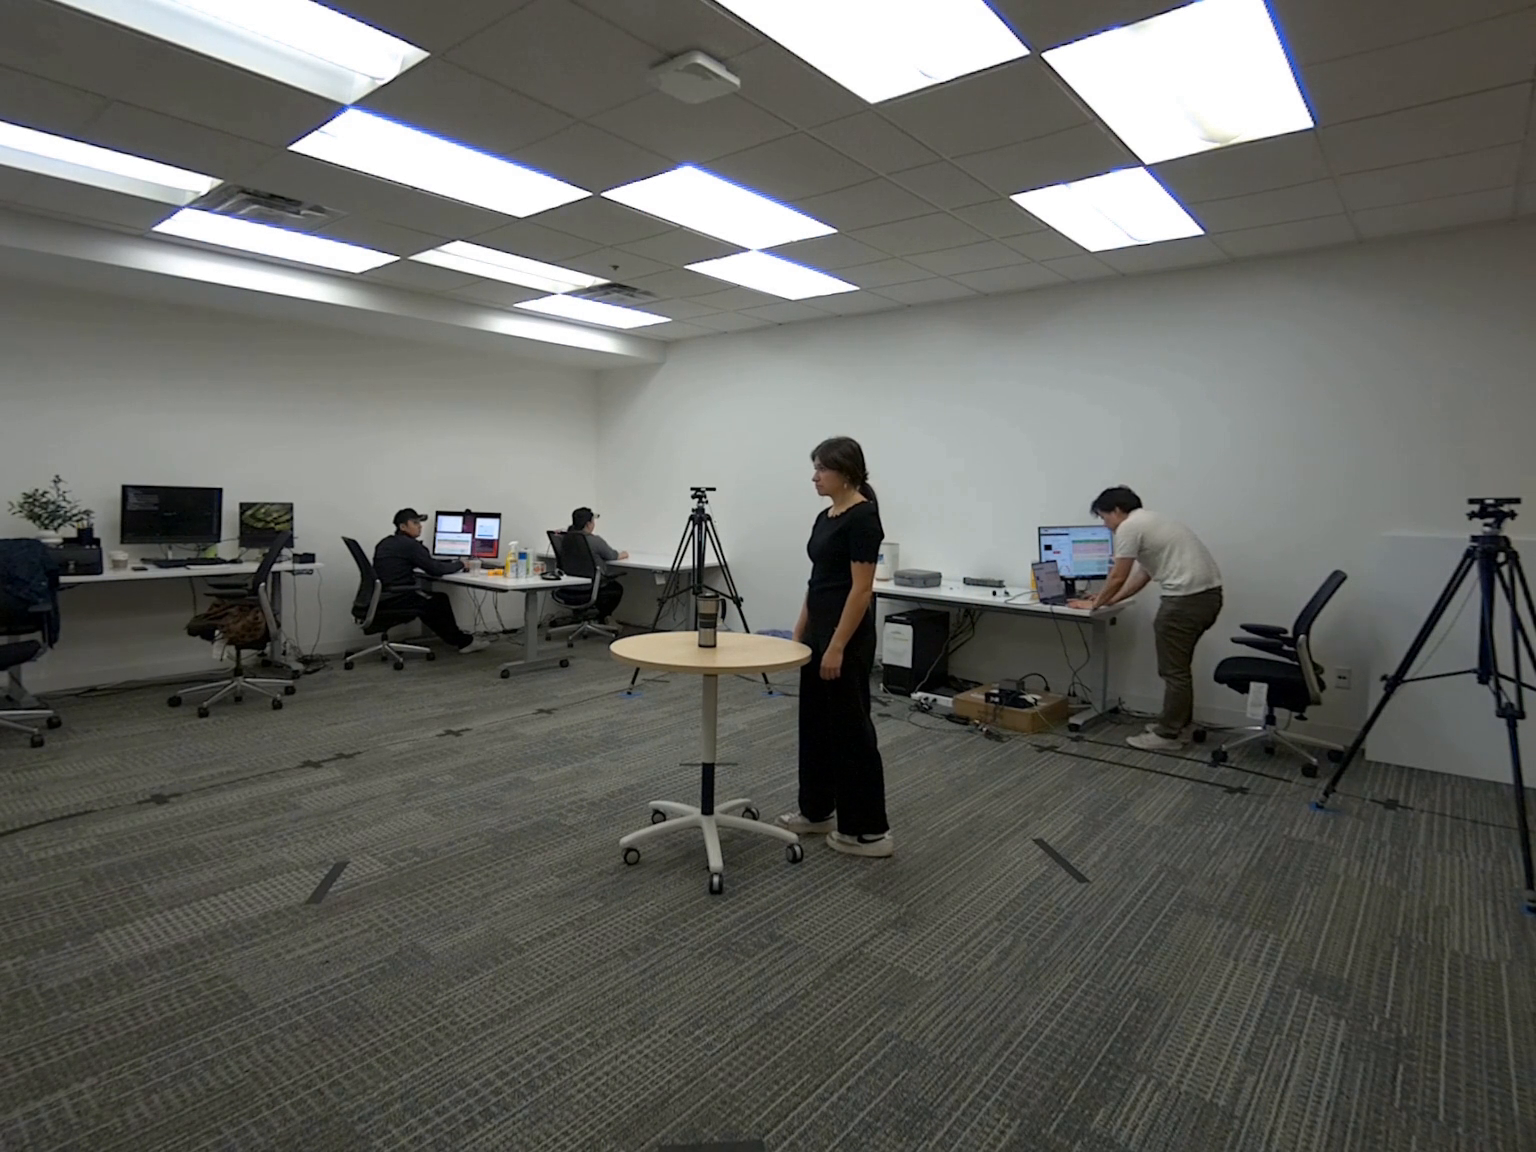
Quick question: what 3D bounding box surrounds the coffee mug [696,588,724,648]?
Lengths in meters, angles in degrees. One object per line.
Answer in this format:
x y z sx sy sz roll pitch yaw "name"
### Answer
-0.225 0.170 3.245 0.125 0.203 0.085 0 -3 33 "coffee mug"
